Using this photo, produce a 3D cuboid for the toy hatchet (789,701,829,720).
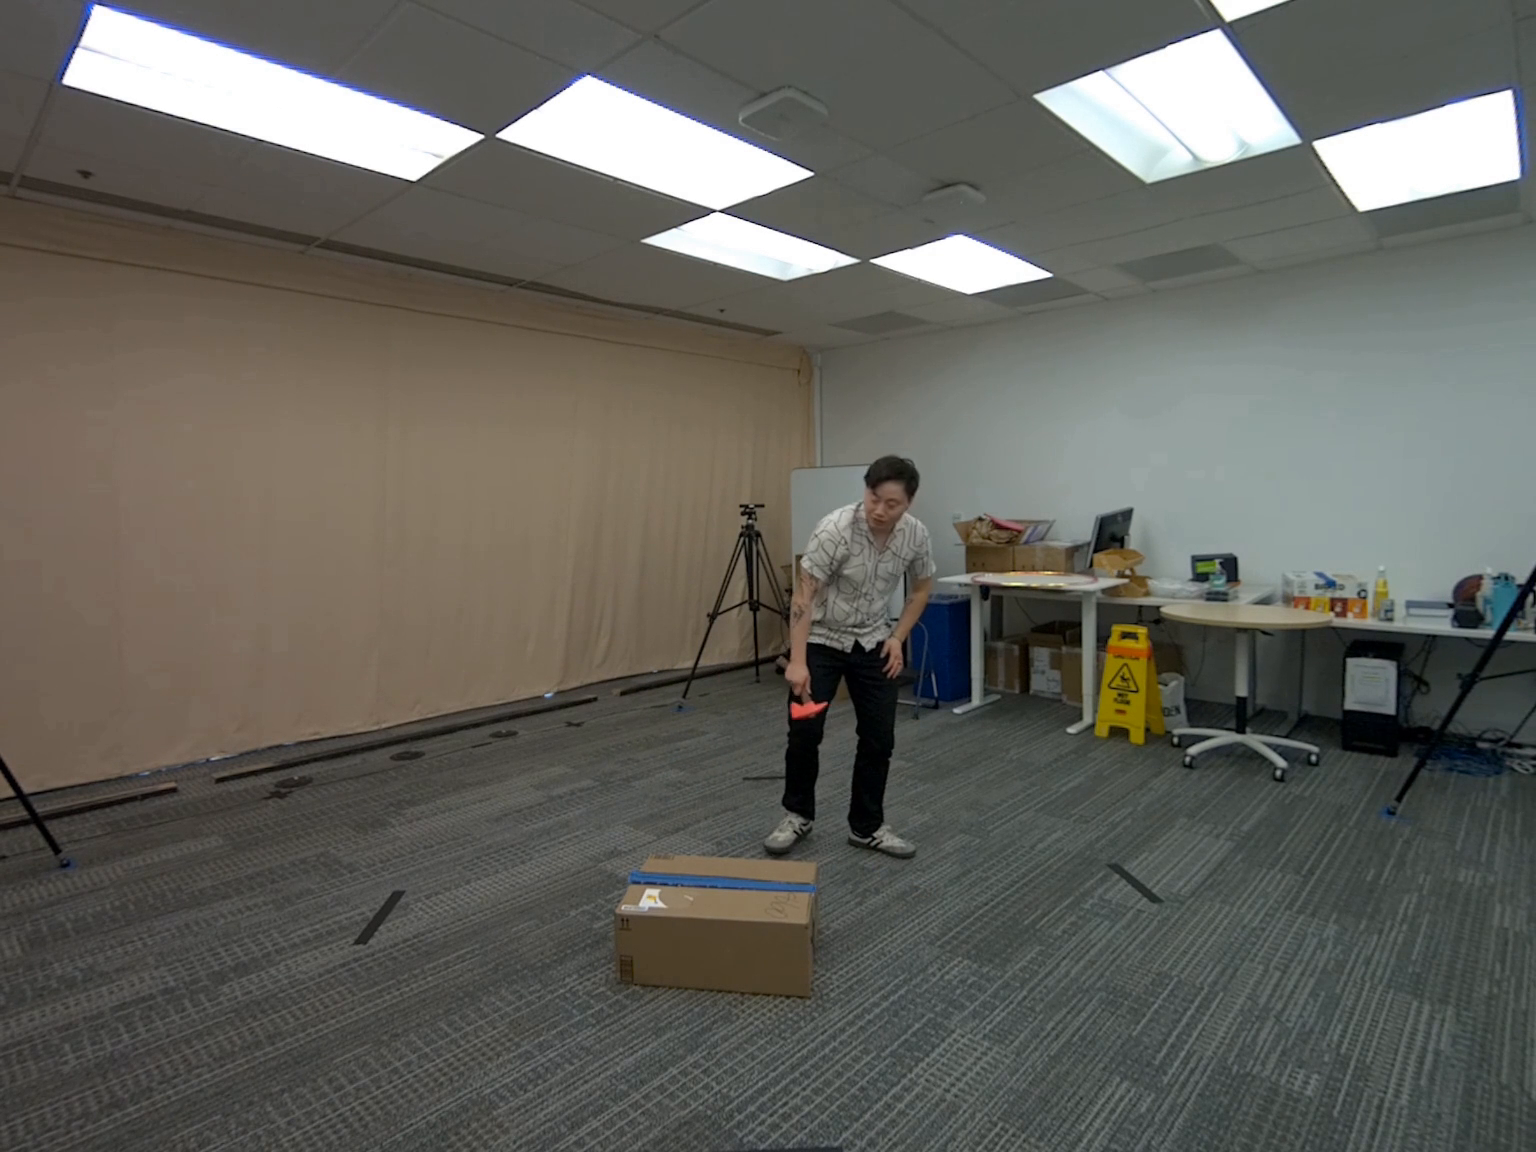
[{"bbox_3d":[0.105,0.435,3.132,0.130,0.029,0.279,-36,53,-7],"label":"toy hatchet"}]
